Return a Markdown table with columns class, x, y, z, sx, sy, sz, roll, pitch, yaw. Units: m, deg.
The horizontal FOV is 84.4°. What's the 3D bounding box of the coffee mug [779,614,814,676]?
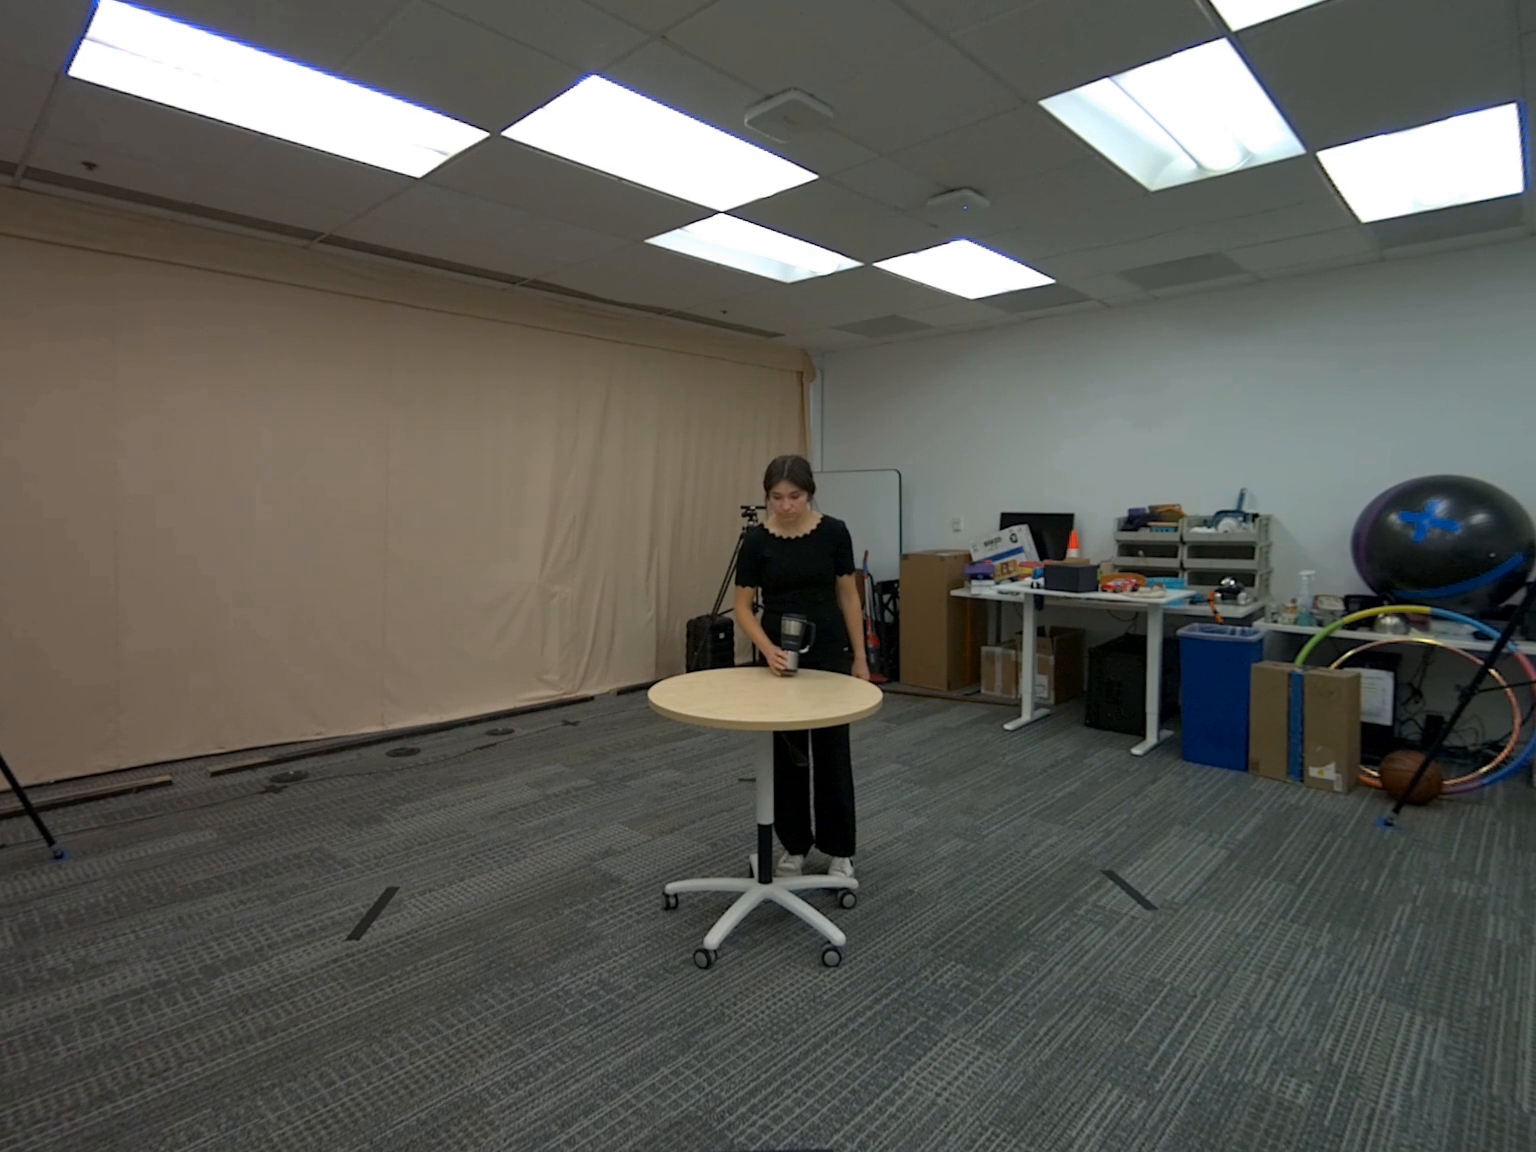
| class | x | y | z | sx | sy | sz | roll | pitch | yaw |
| --- | --- | --- | --- | --- | --- | --- | --- | --- | --- |
| coffee mug | 0.098 | 0.239 | 2.967 | 0.126 | 0.203 | 0.085 | 0 | -8 | 44 |
